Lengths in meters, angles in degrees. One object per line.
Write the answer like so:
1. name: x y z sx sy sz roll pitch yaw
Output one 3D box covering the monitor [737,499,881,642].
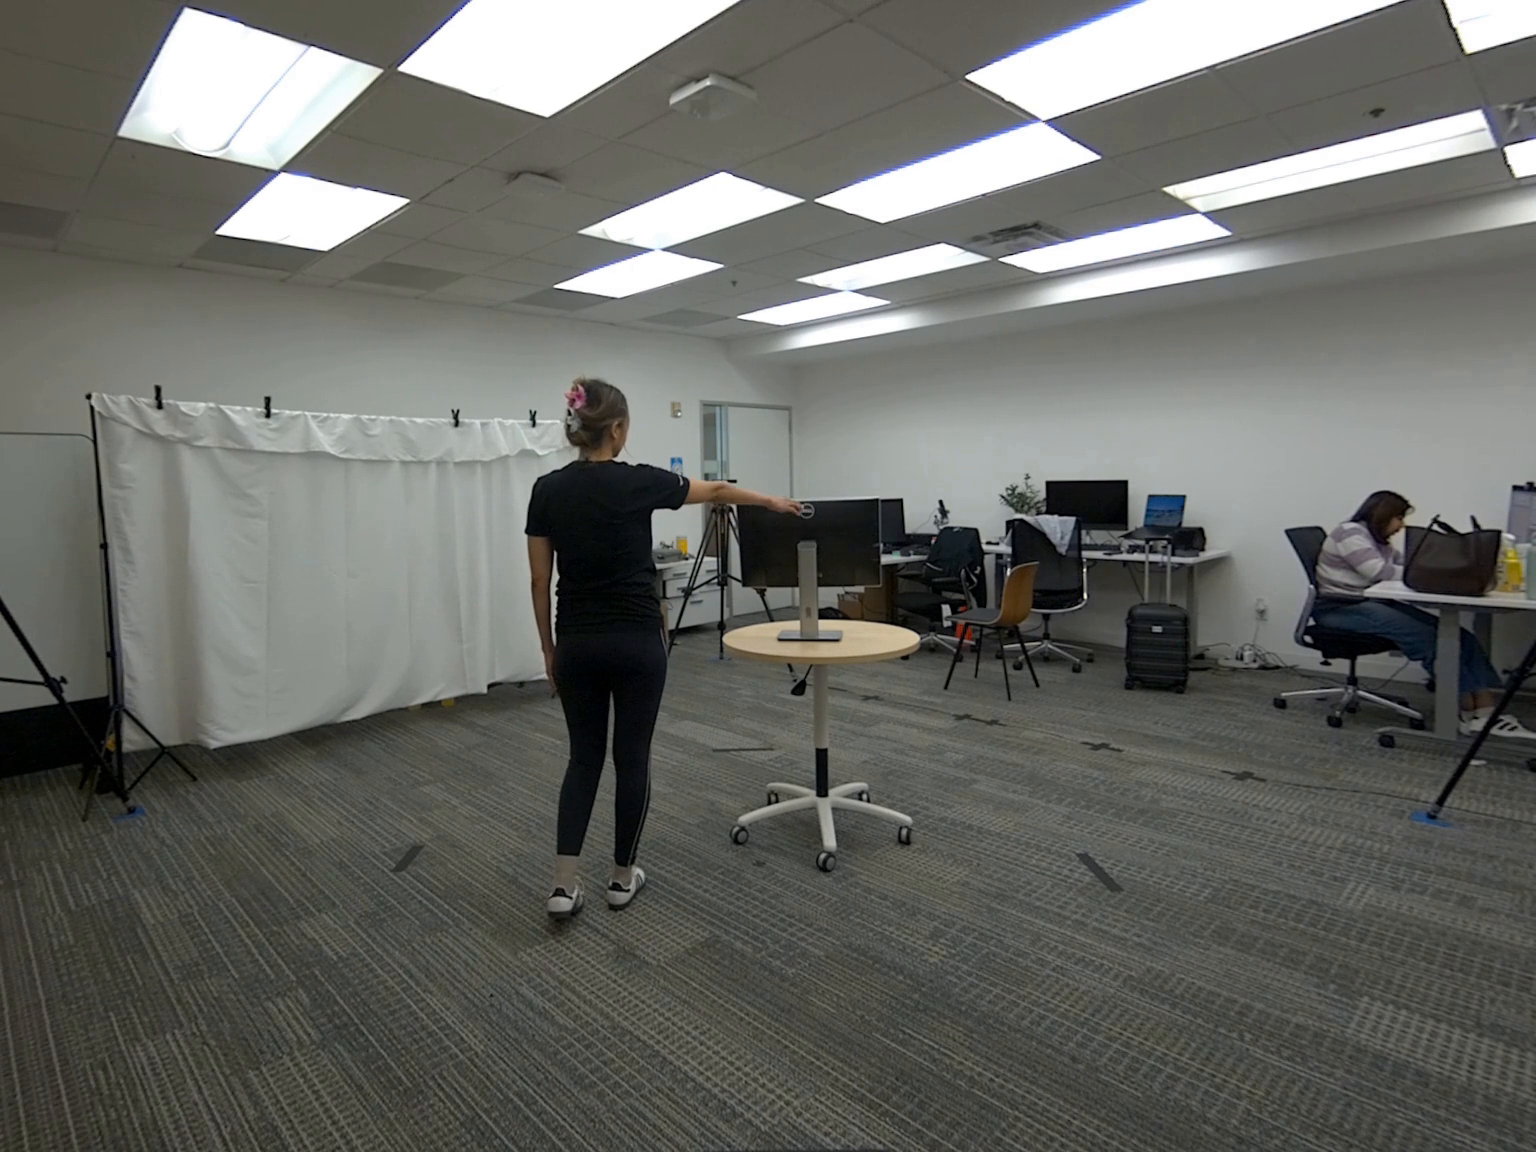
1. monitor: 0.157 -0.023 3.331 0.543 0.521 0.186 -1 3 8
